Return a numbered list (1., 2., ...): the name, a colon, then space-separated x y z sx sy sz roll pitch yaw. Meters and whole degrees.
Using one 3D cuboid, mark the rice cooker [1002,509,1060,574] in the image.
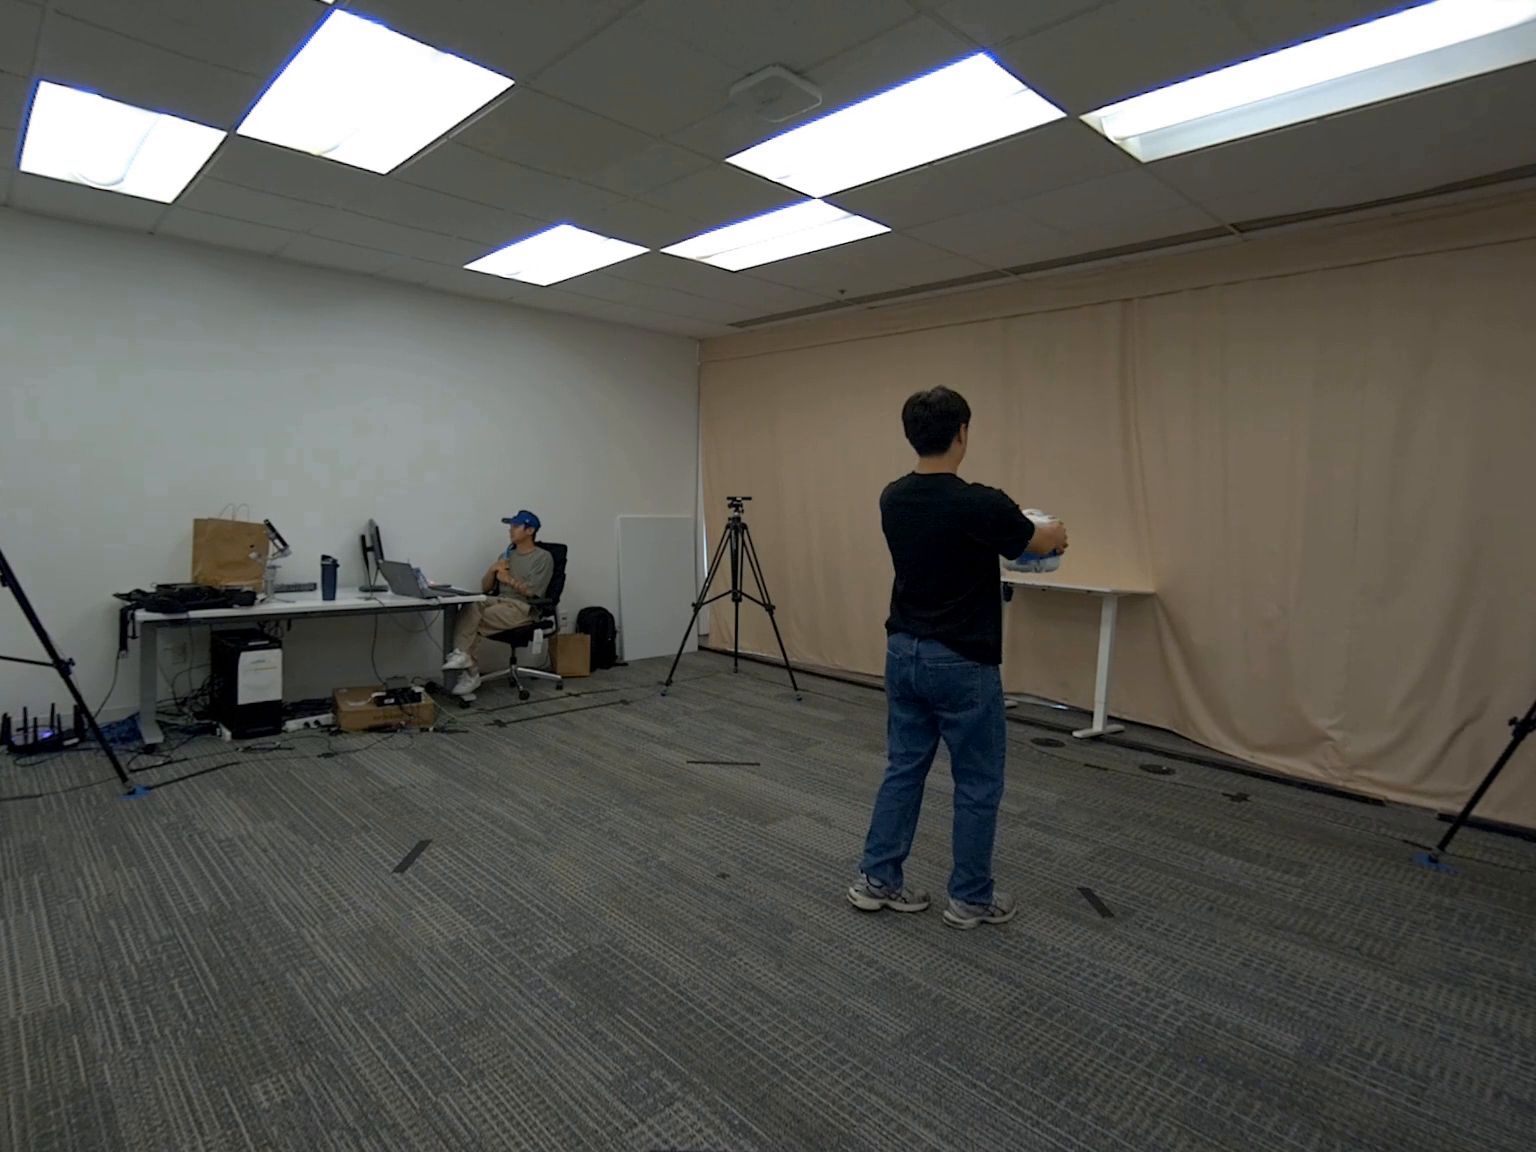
1. rice cooker: 0.958 -0.136 3.134 0.216 0.232 0.223 -4 8 -43
